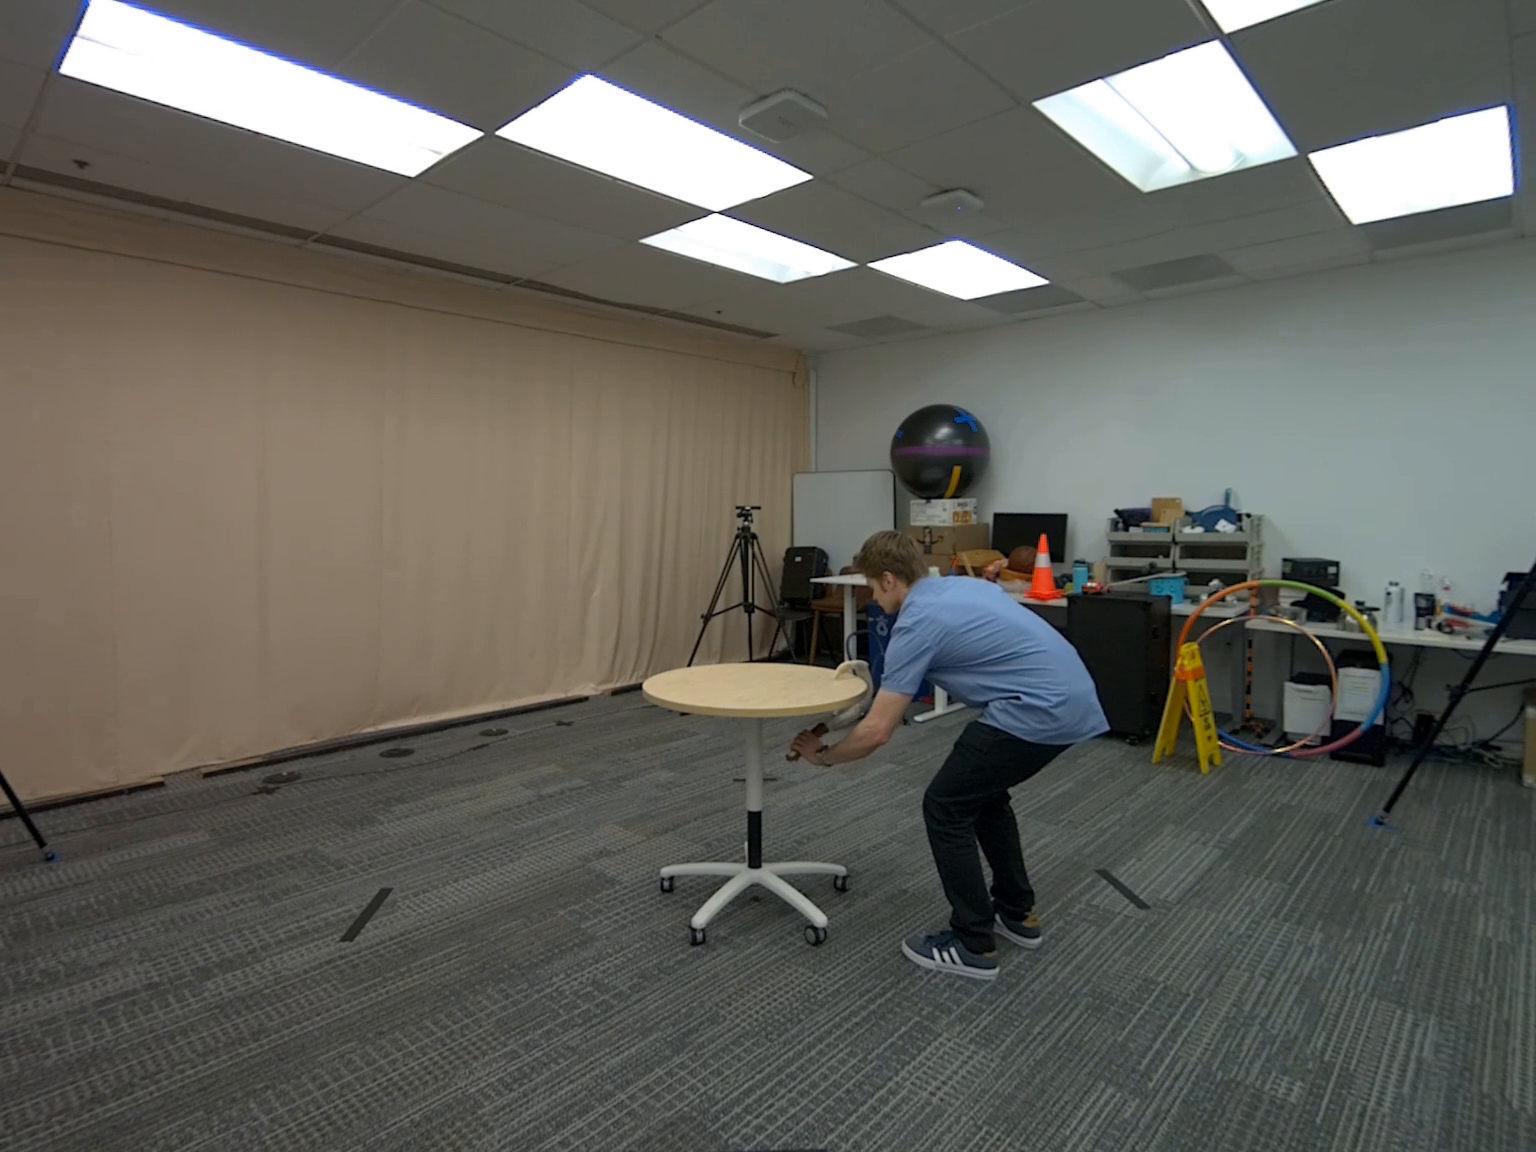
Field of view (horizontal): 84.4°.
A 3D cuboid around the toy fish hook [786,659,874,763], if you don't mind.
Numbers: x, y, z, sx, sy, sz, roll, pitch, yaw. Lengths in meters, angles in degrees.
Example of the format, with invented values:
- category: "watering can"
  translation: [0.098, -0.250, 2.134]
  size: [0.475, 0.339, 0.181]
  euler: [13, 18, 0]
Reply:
- category: "toy fish hook"
  translation: [0.225, 0.460, 2.916]
  size: [0.050, 0.222, 0.497]
  euler: [-6, 17, 46]
